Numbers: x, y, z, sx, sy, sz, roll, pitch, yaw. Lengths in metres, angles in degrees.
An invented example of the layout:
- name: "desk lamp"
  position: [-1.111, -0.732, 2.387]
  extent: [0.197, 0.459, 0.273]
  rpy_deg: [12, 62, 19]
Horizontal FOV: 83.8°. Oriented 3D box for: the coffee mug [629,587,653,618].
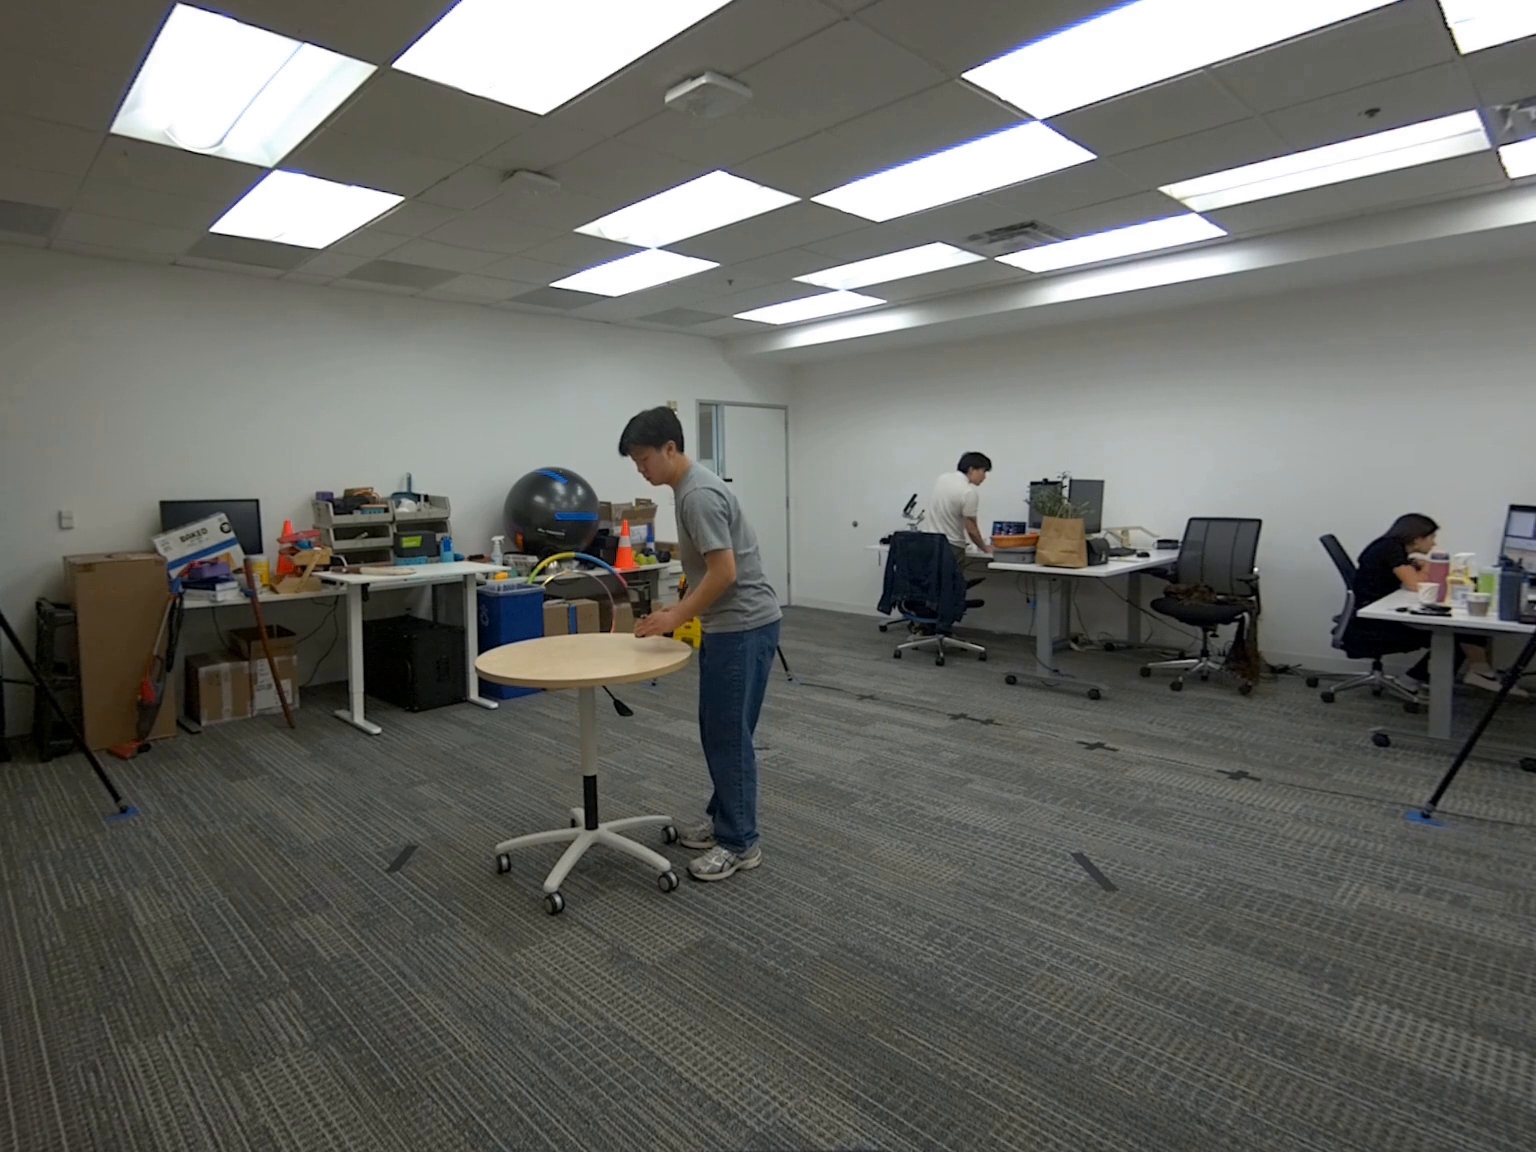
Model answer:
- name: "coffee mug"
  position: [-0.467, 0.124, 3.058]
  extent: [0.089, 0.203, 0.120]
  rpy_deg: [-3, 2, 13]
